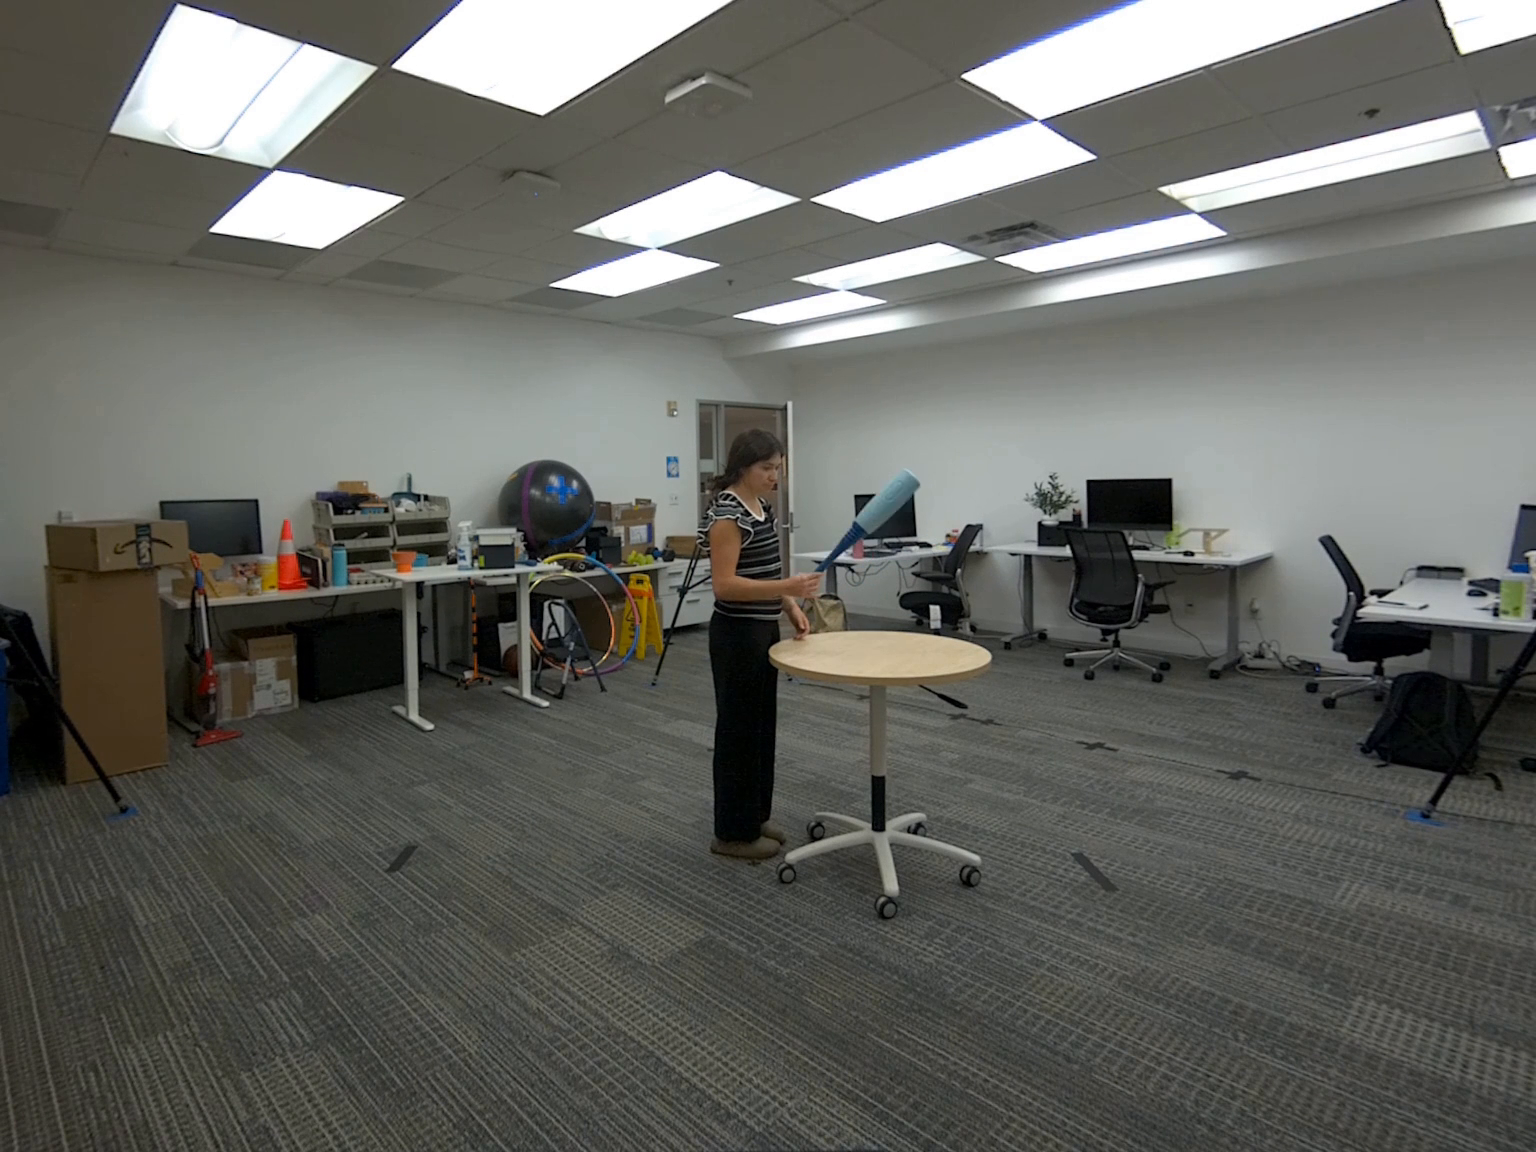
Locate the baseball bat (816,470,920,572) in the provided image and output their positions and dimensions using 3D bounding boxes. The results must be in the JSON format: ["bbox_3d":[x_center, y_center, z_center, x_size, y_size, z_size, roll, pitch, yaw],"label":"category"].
[{"bbox_3d":[0.314,-0.147,2.941,0.088,0.543,0.090,42,7,-9],"label":"baseball bat"}]
